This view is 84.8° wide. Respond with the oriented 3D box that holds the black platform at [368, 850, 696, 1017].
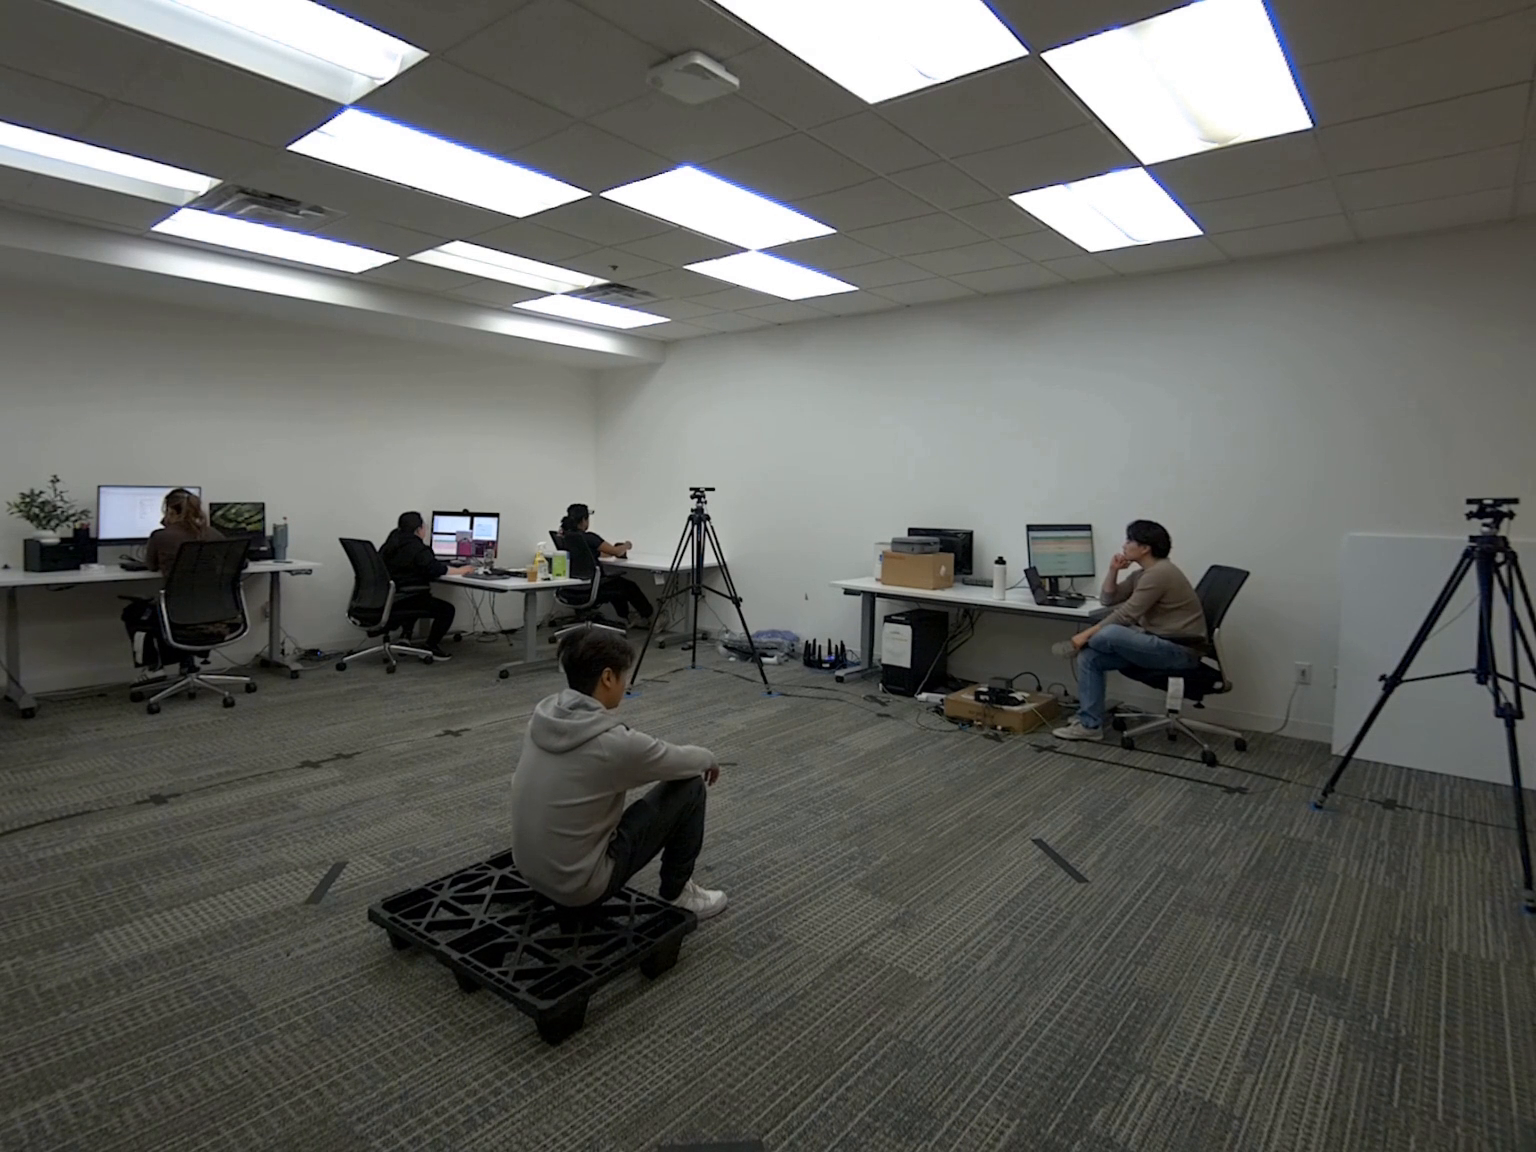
[{"bbox_3d":[-0.702,1.046,2.526,0.832,0.143,0.588,5,7,36],"label":"black platform"}]
